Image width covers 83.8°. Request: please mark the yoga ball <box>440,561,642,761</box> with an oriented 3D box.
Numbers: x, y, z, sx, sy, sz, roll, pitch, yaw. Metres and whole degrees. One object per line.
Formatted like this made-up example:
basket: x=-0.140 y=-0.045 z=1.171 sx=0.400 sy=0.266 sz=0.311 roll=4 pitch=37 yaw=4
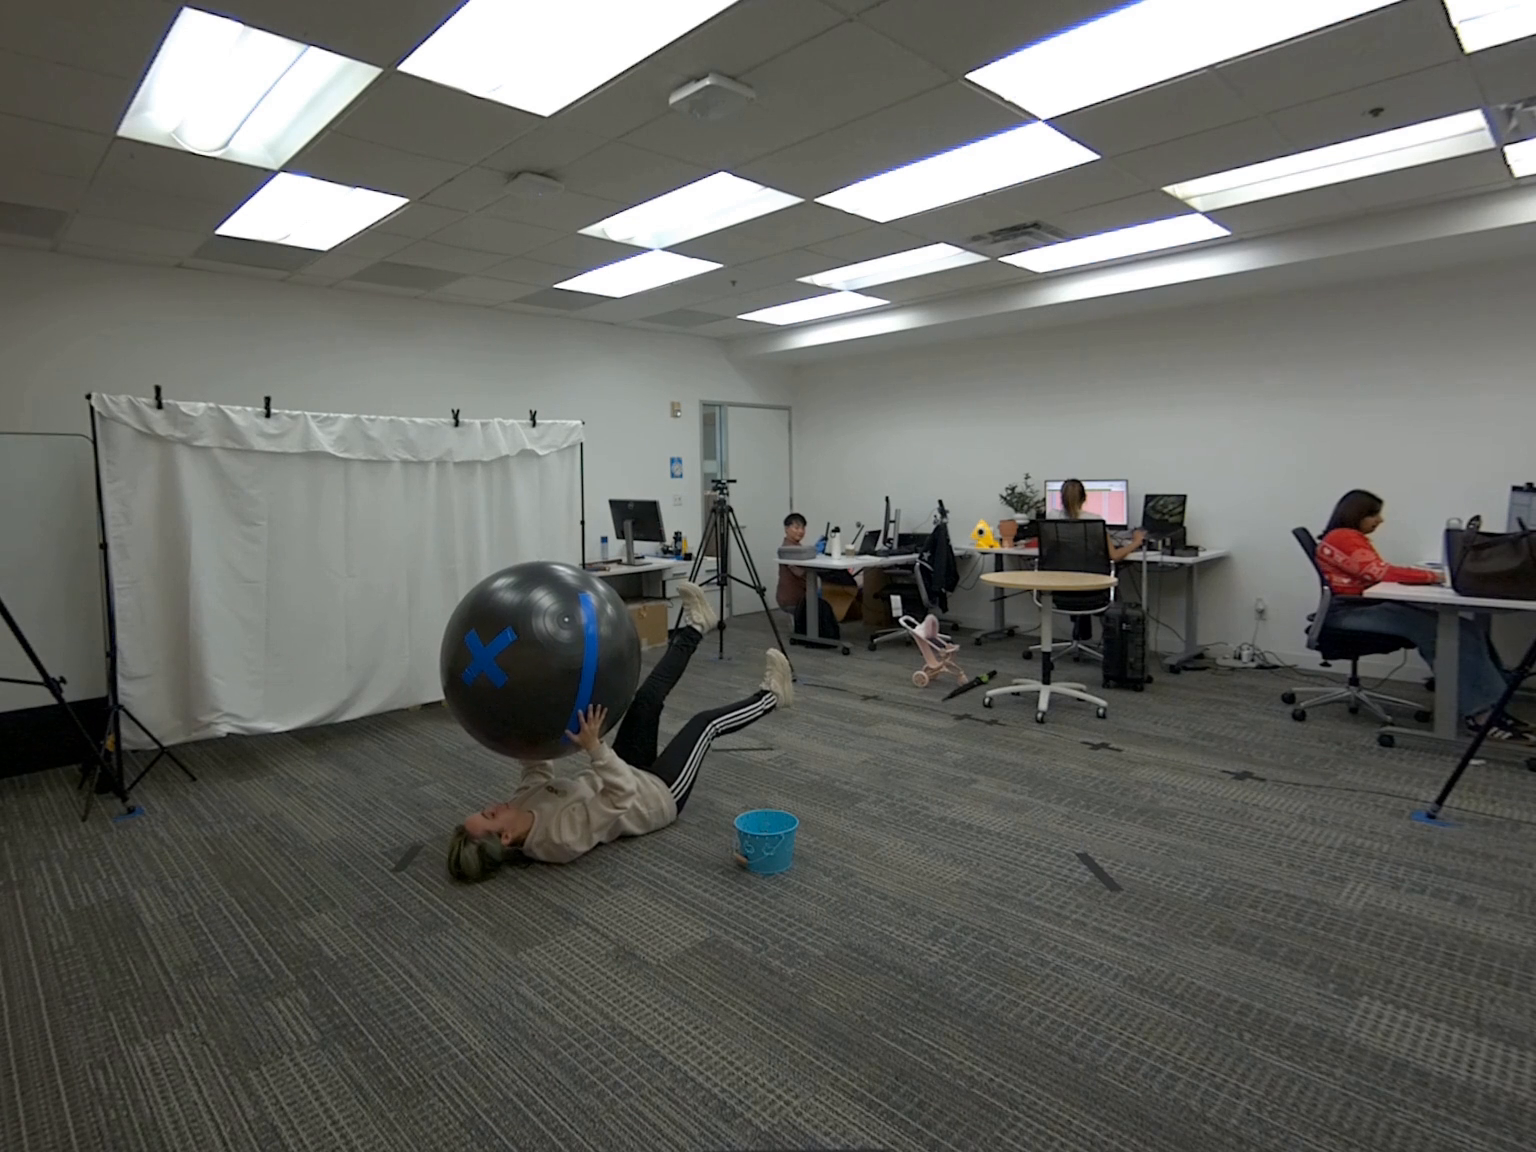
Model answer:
yoga ball: x=-0.874 y=0.322 z=3.293 sx=0.757 sy=0.755 sz=0.762 roll=-1 pitch=5 yaw=-2
